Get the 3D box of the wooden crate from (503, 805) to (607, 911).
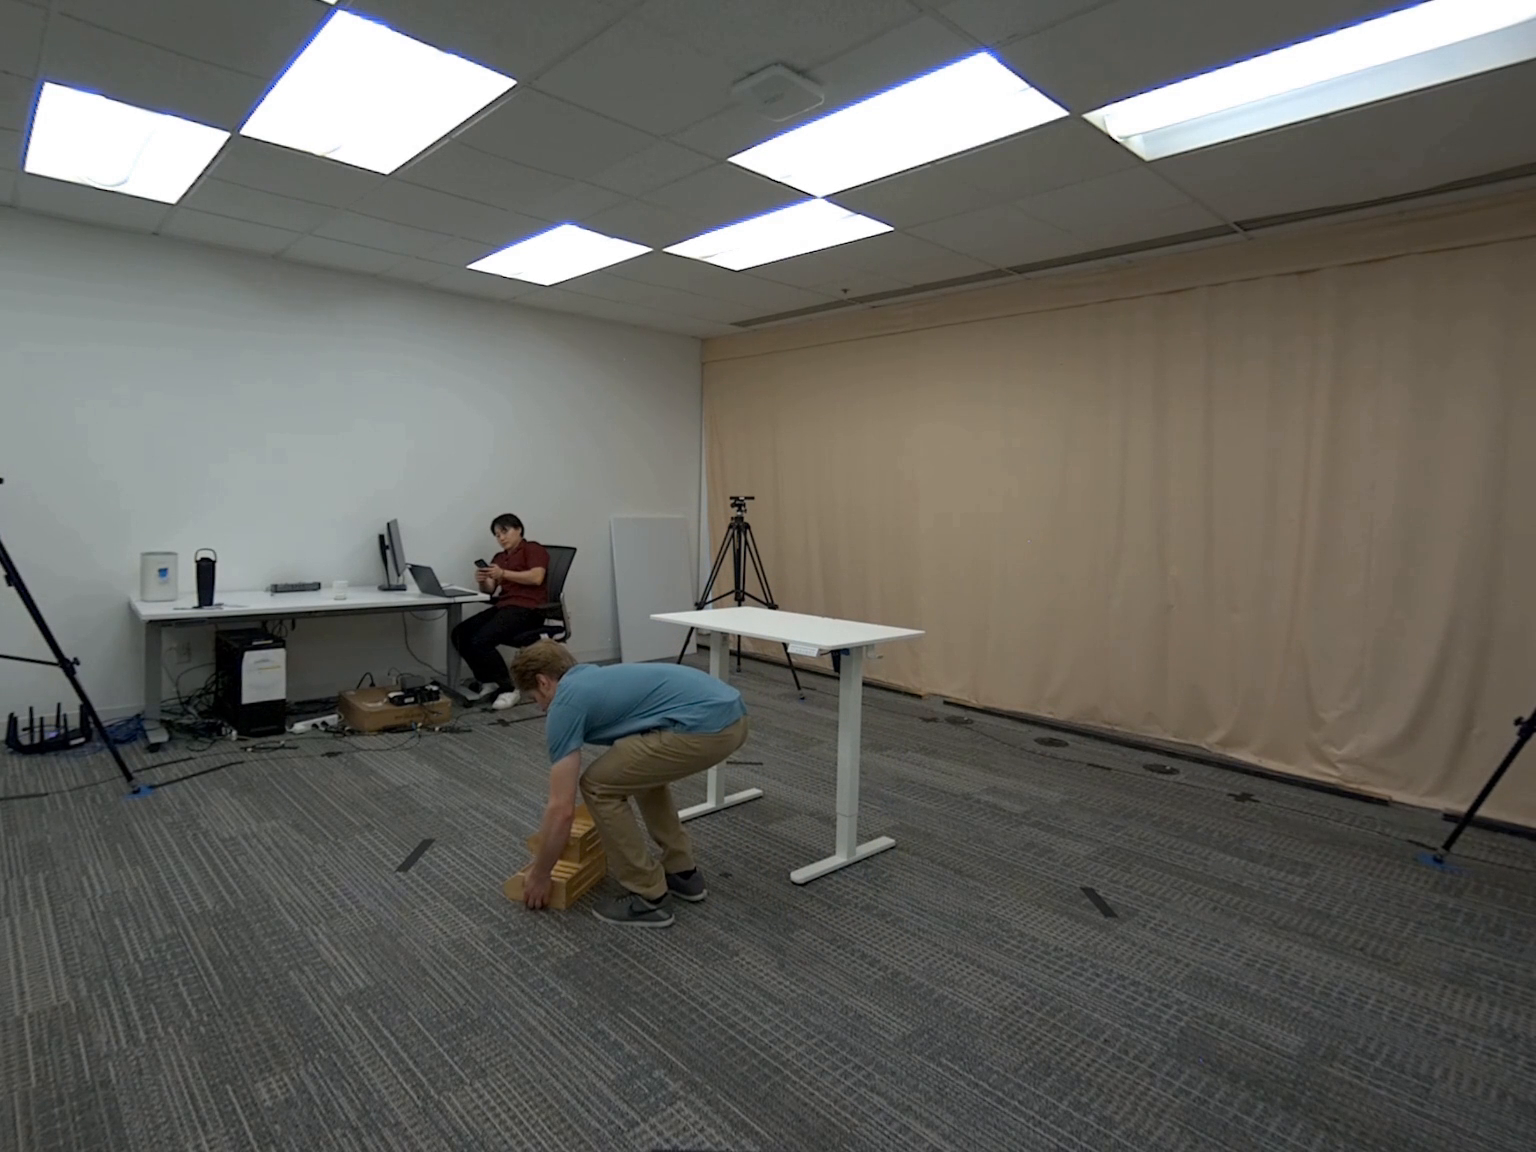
[{"bbox_3d":[-0.735,0.970,2.983,0.307,0.272,0.320,4,6,19],"label":"wooden crate"}]
